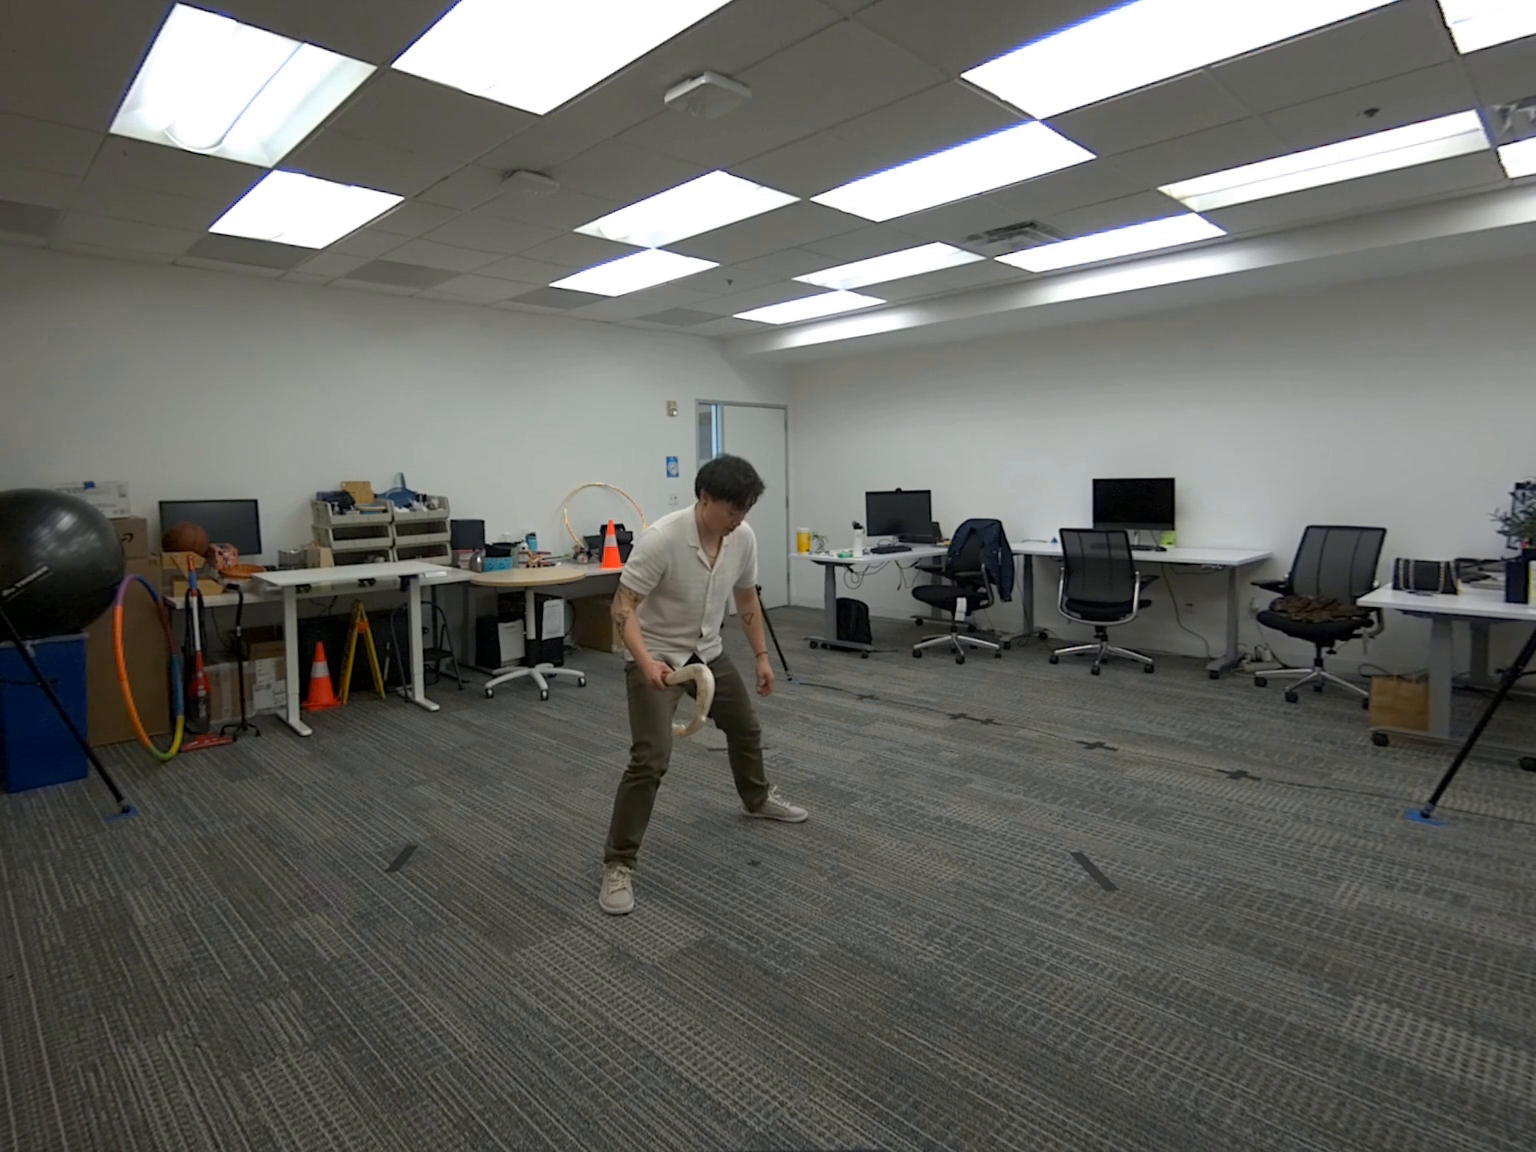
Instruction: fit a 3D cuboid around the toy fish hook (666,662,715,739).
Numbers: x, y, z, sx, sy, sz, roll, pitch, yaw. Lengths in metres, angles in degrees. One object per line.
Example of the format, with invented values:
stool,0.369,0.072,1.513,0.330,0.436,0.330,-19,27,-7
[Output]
toy fish hook,-0.290,0.380,2.651,0.047,0.226,0.516,19,-10,-24
